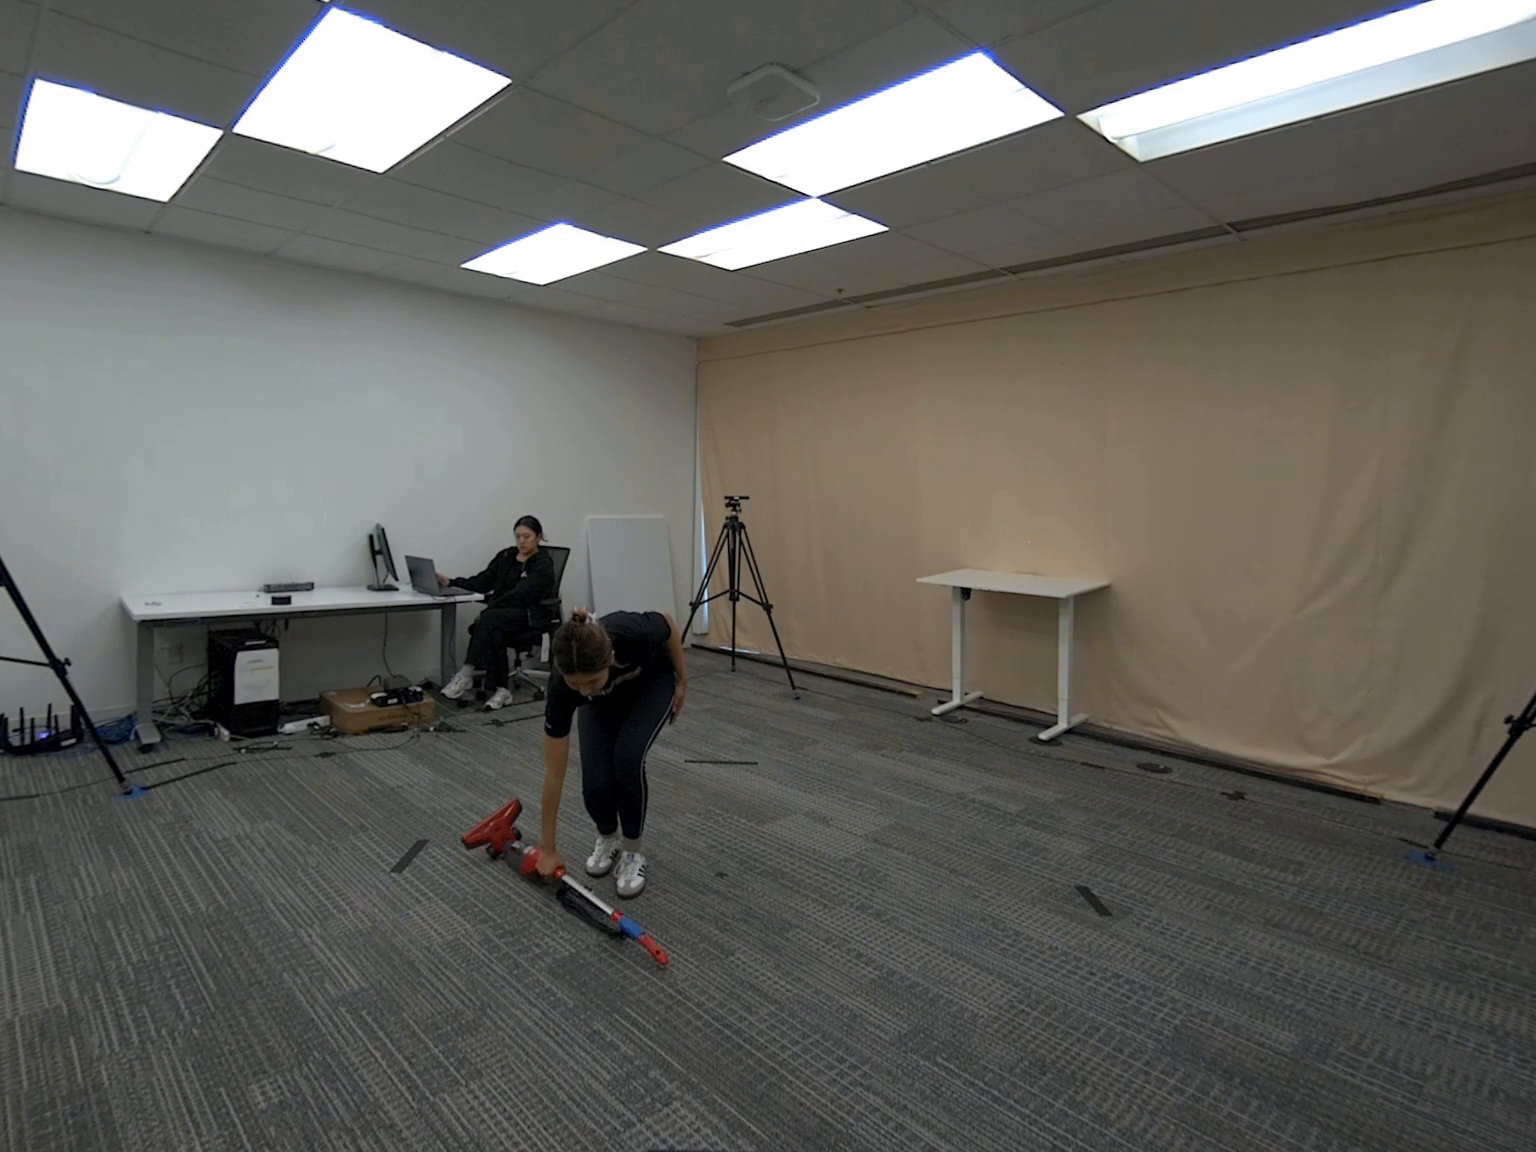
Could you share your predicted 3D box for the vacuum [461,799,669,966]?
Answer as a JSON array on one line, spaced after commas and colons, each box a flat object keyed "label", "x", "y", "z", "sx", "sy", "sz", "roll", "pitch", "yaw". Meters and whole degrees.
[{"label": "vacuum", "x": -0.676, "y": 1.058, "z": 2.843, "sx": 0.251, "sy": 0.141, "sz": 1.079, "roll": -34, "pitch": 31, "yaw": -34}]
